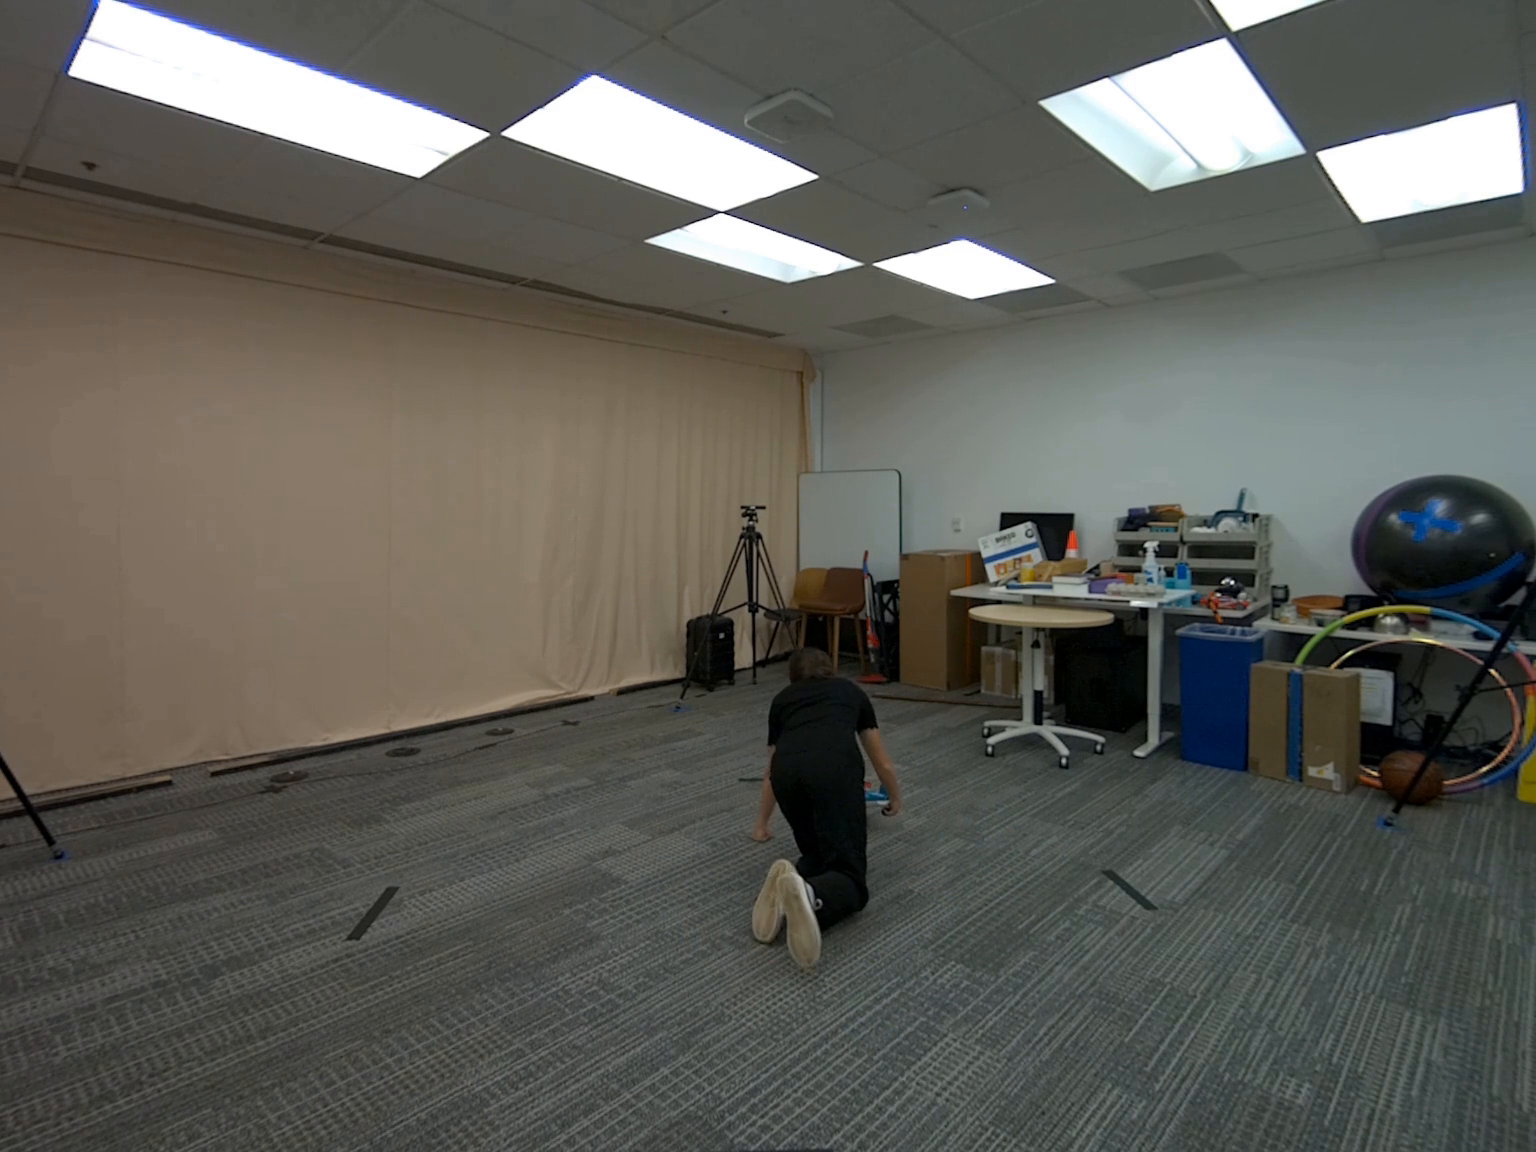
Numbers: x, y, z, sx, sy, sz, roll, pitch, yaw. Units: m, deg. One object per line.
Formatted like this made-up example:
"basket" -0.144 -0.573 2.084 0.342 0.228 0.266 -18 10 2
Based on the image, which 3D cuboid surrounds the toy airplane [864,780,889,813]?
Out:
"toy airplane" 0.430 0.983 3.678 0.260 0.158 0.248 -20 -9 2
